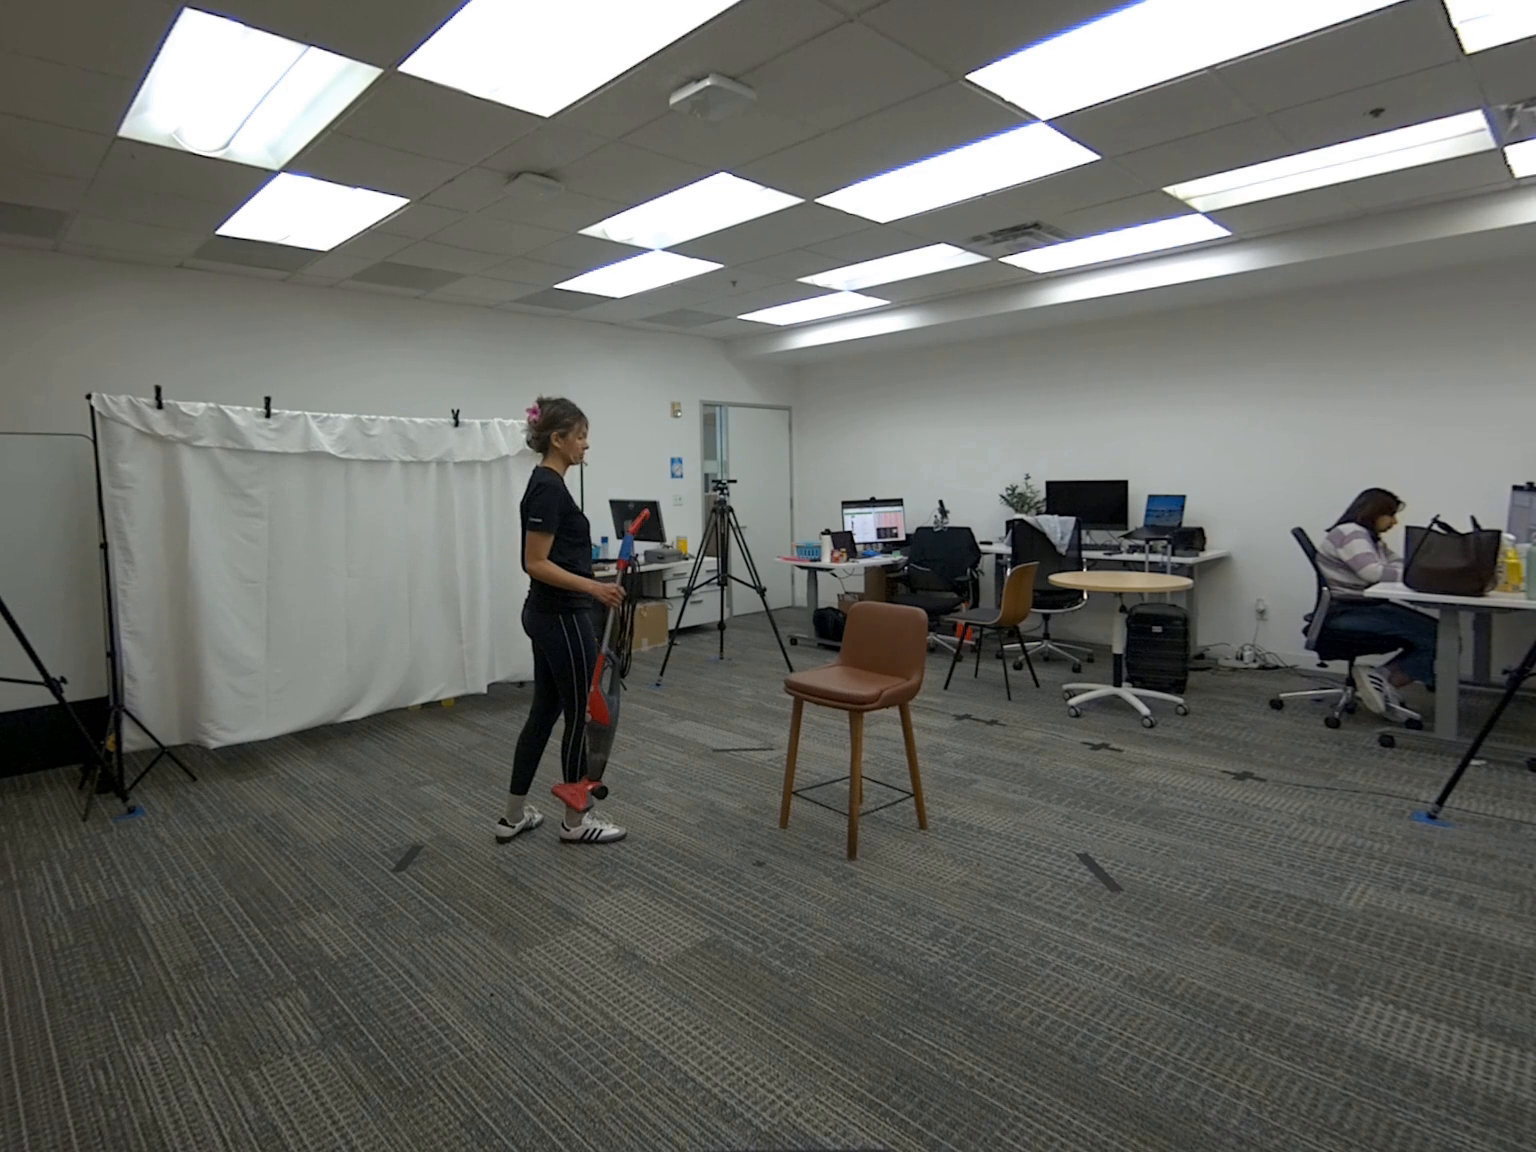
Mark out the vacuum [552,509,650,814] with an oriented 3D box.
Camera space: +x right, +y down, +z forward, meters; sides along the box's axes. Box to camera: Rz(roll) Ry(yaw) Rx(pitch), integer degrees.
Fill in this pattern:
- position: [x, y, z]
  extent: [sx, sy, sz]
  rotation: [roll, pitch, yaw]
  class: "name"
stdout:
- position: [-0.553, 0.287, 3.093]
  extent: [0.139, 1.052, 0.260]
  rotation: [15, -5, -36]
  class: "vacuum"
